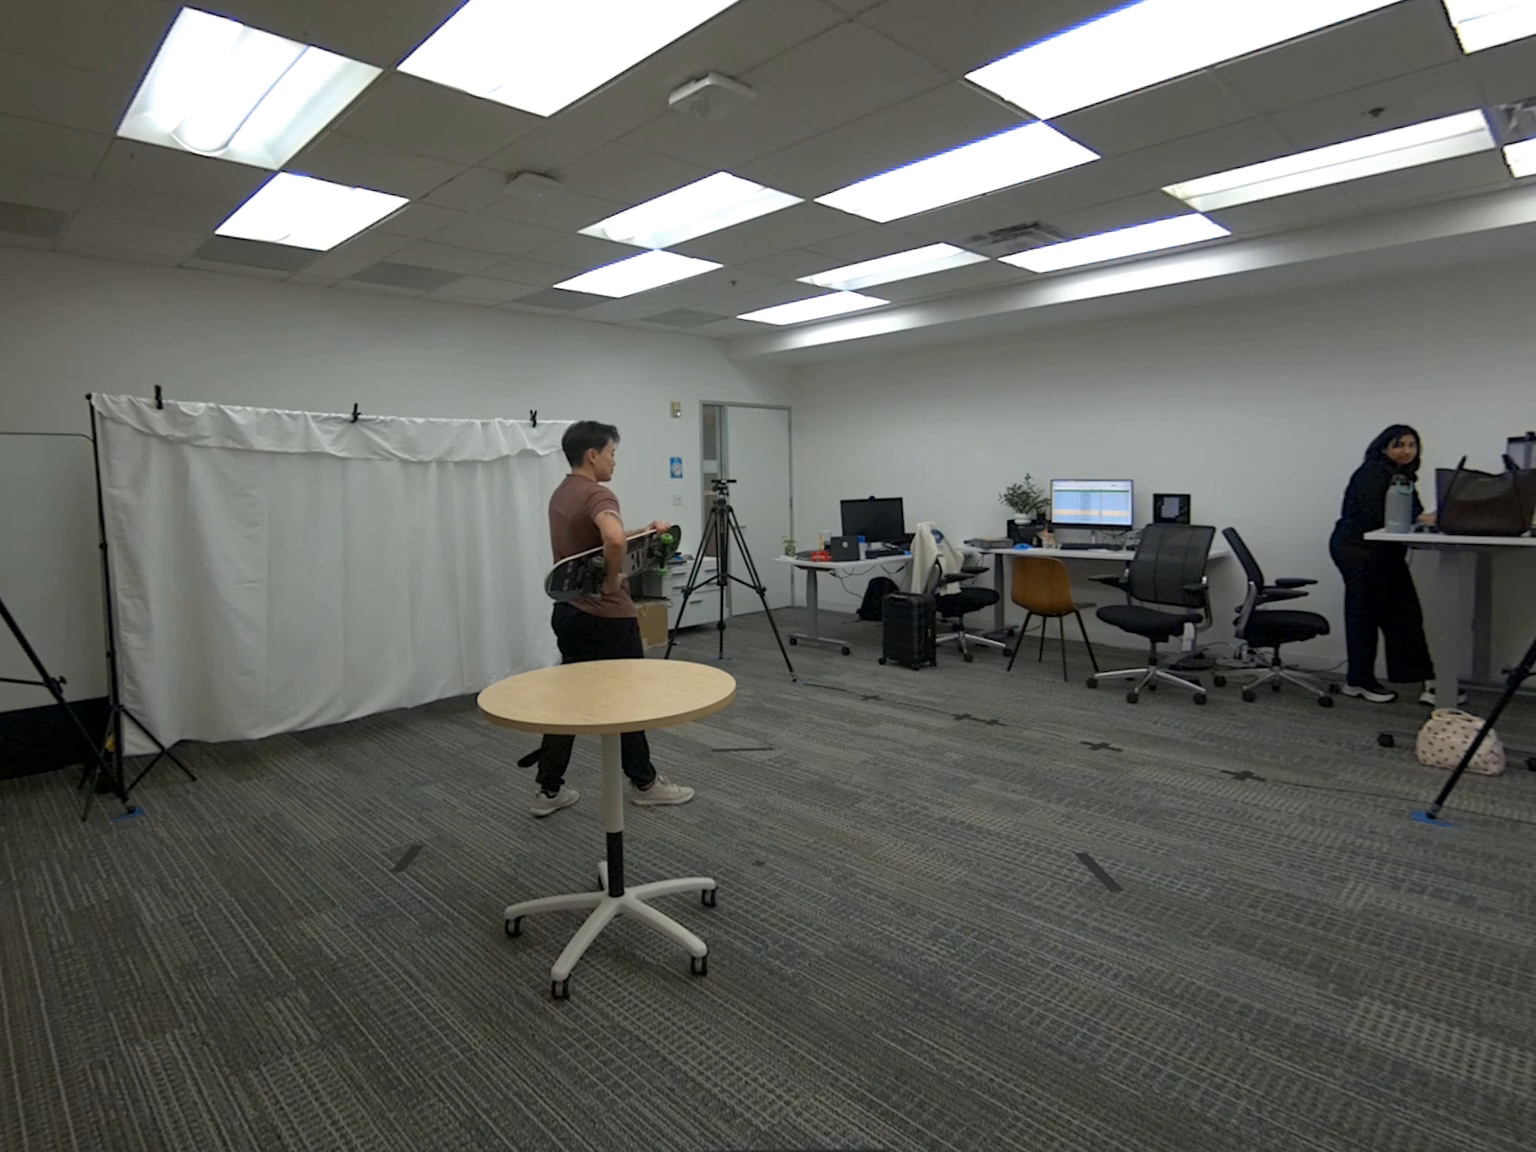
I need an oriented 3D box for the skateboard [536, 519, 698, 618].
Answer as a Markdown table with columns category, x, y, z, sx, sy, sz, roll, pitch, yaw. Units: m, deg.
| category | x | y | z | sx | sy | sz | roll | pitch | yaw |
| --- | --- | --- | --- | --- | --- | --- | --- | --- | --- |
| skateboard | -0.602 | -0.043 | 3.521 | 0.114 | 0.190 | 0.772 | 26 | 29 | 29 |
